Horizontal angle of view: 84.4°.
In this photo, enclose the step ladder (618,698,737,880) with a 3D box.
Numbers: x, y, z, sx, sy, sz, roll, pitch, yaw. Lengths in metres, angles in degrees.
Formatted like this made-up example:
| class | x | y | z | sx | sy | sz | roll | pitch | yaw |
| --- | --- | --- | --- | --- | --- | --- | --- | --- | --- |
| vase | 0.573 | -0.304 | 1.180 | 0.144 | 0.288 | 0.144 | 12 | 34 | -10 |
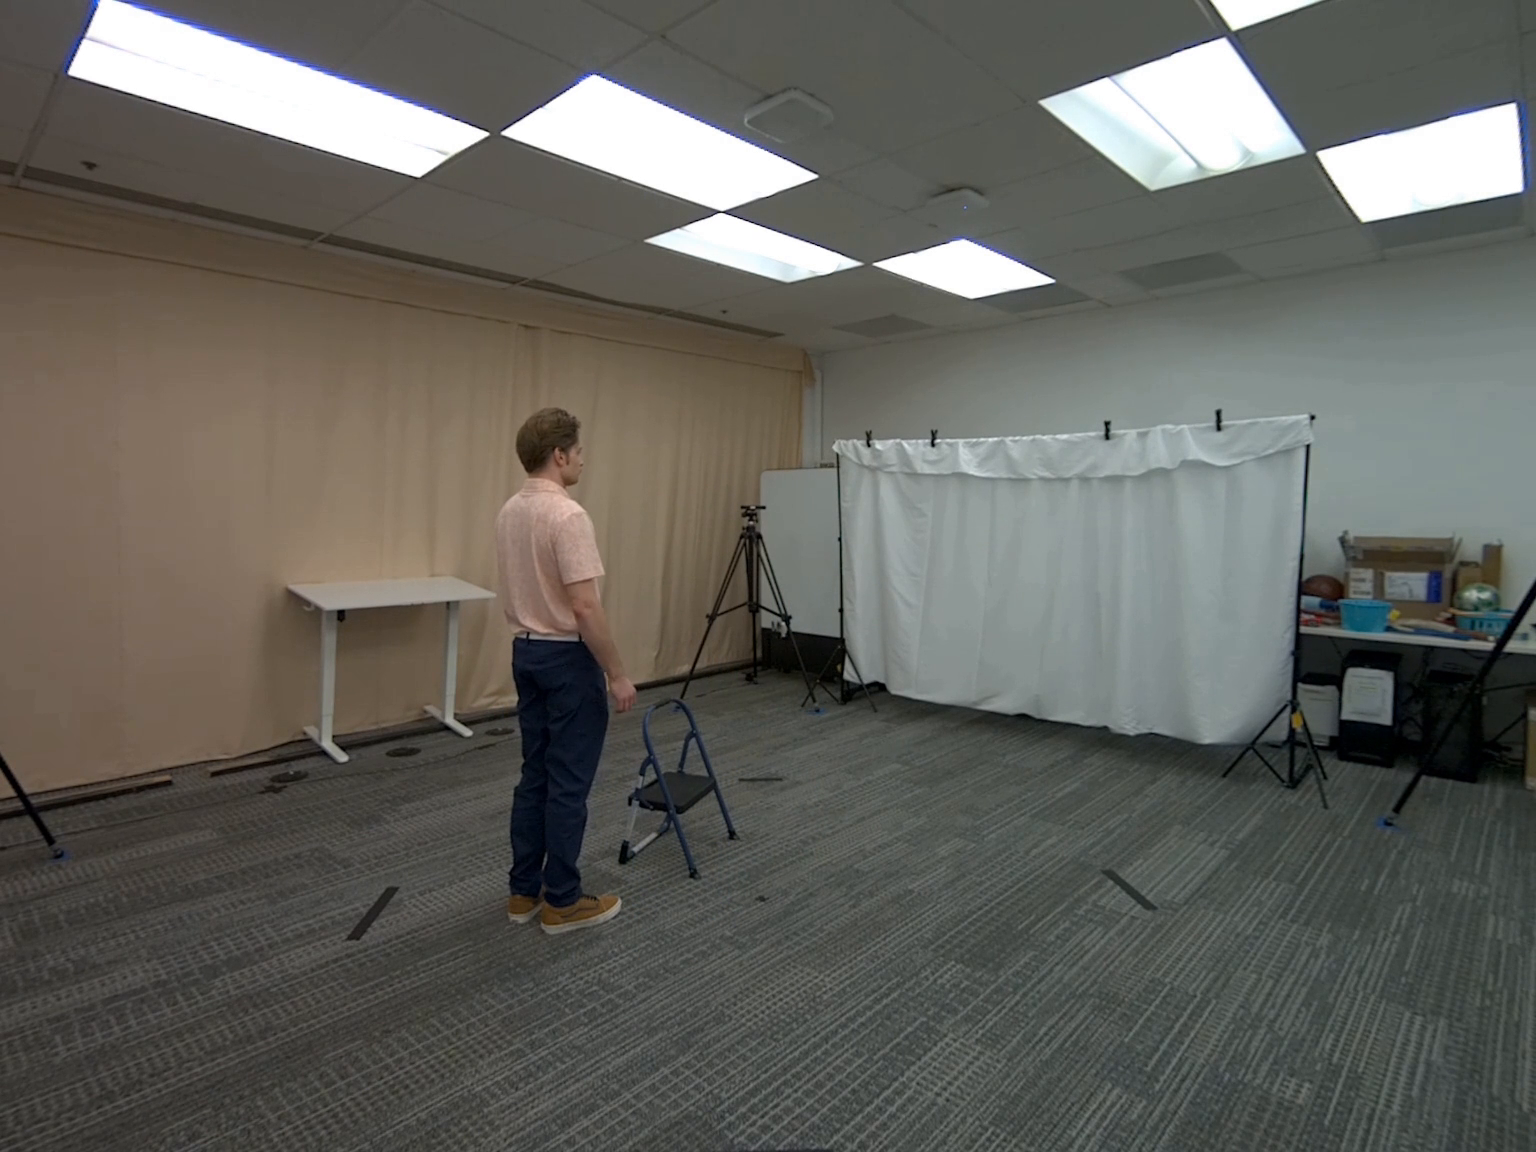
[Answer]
| class | x | y | z | sx | sy | sz | roll | pitch | yaw |
| --- | --- | --- | --- | --- | --- | --- | --- | --- | --- |
| step ladder | -0.355 | 0.810 | 3.390 | 0.357 | 0.605 | 0.422 | 1 | 3 | 20 |
